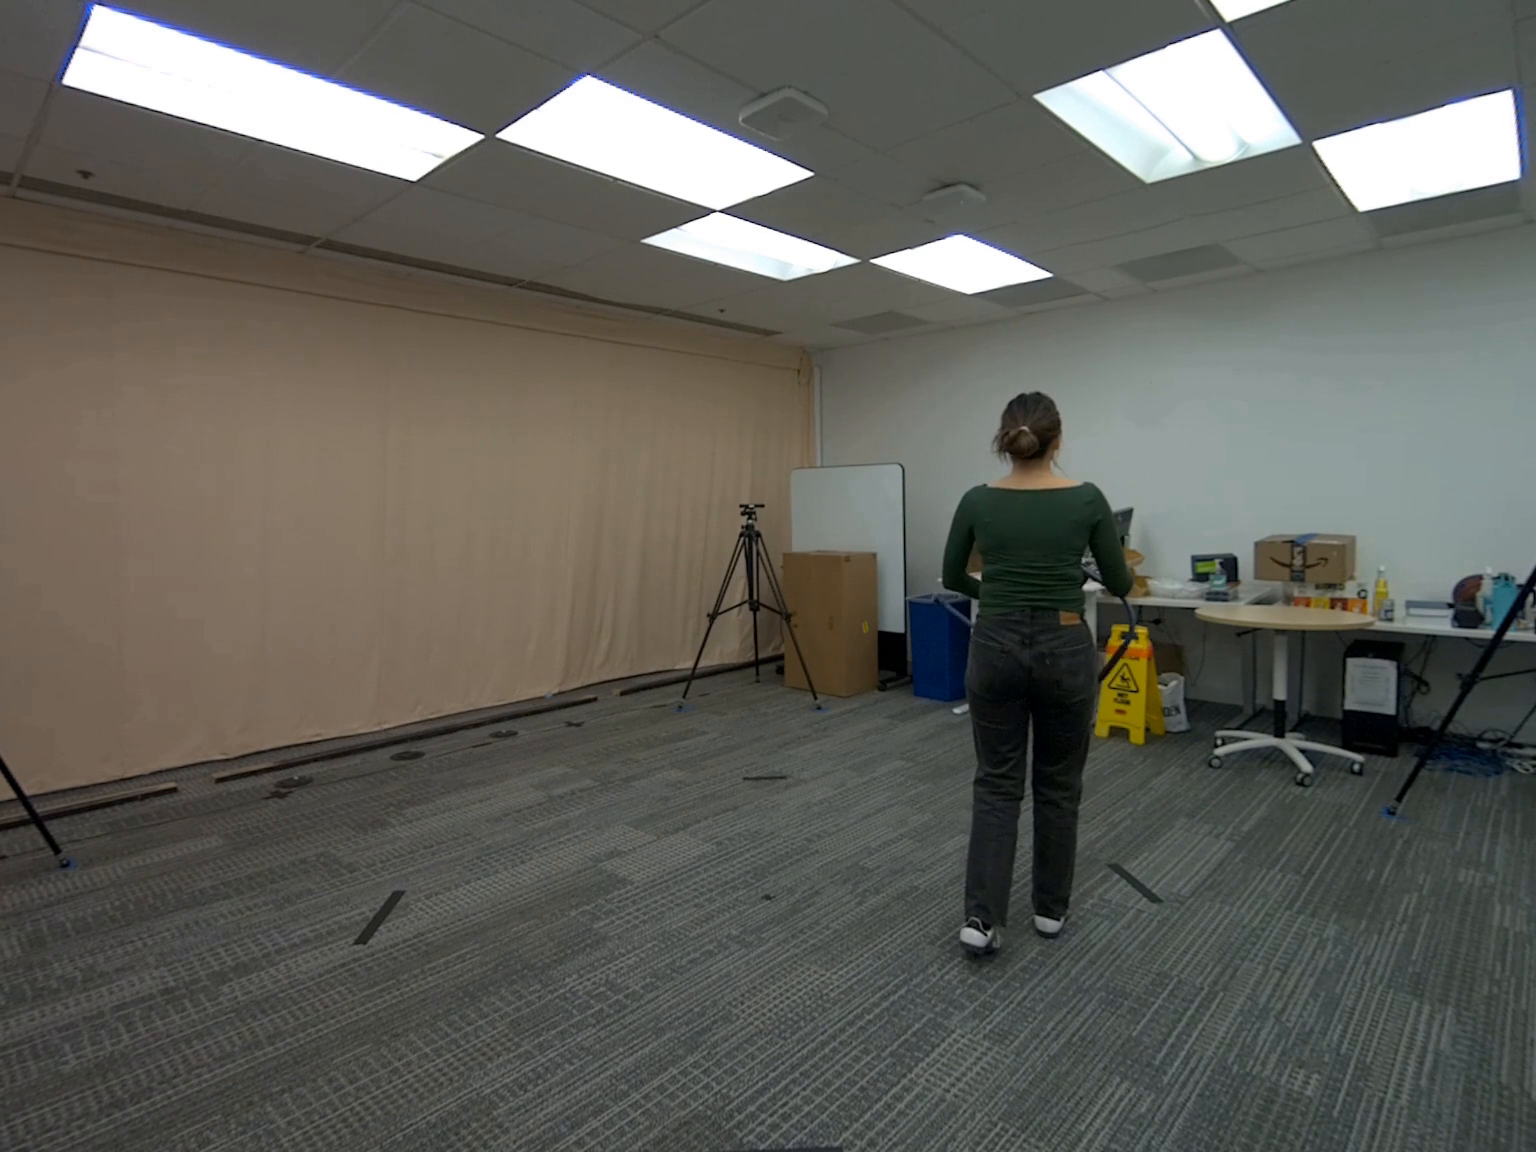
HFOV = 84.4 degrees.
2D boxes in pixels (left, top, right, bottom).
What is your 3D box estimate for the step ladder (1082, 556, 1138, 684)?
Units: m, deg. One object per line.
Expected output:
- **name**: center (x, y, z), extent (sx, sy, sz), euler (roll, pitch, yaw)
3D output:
- **step ladder**: center (0.972, 0.113, 2.953), extent (0.339, 0.430, 0.624), euler (17, 21, -27)
